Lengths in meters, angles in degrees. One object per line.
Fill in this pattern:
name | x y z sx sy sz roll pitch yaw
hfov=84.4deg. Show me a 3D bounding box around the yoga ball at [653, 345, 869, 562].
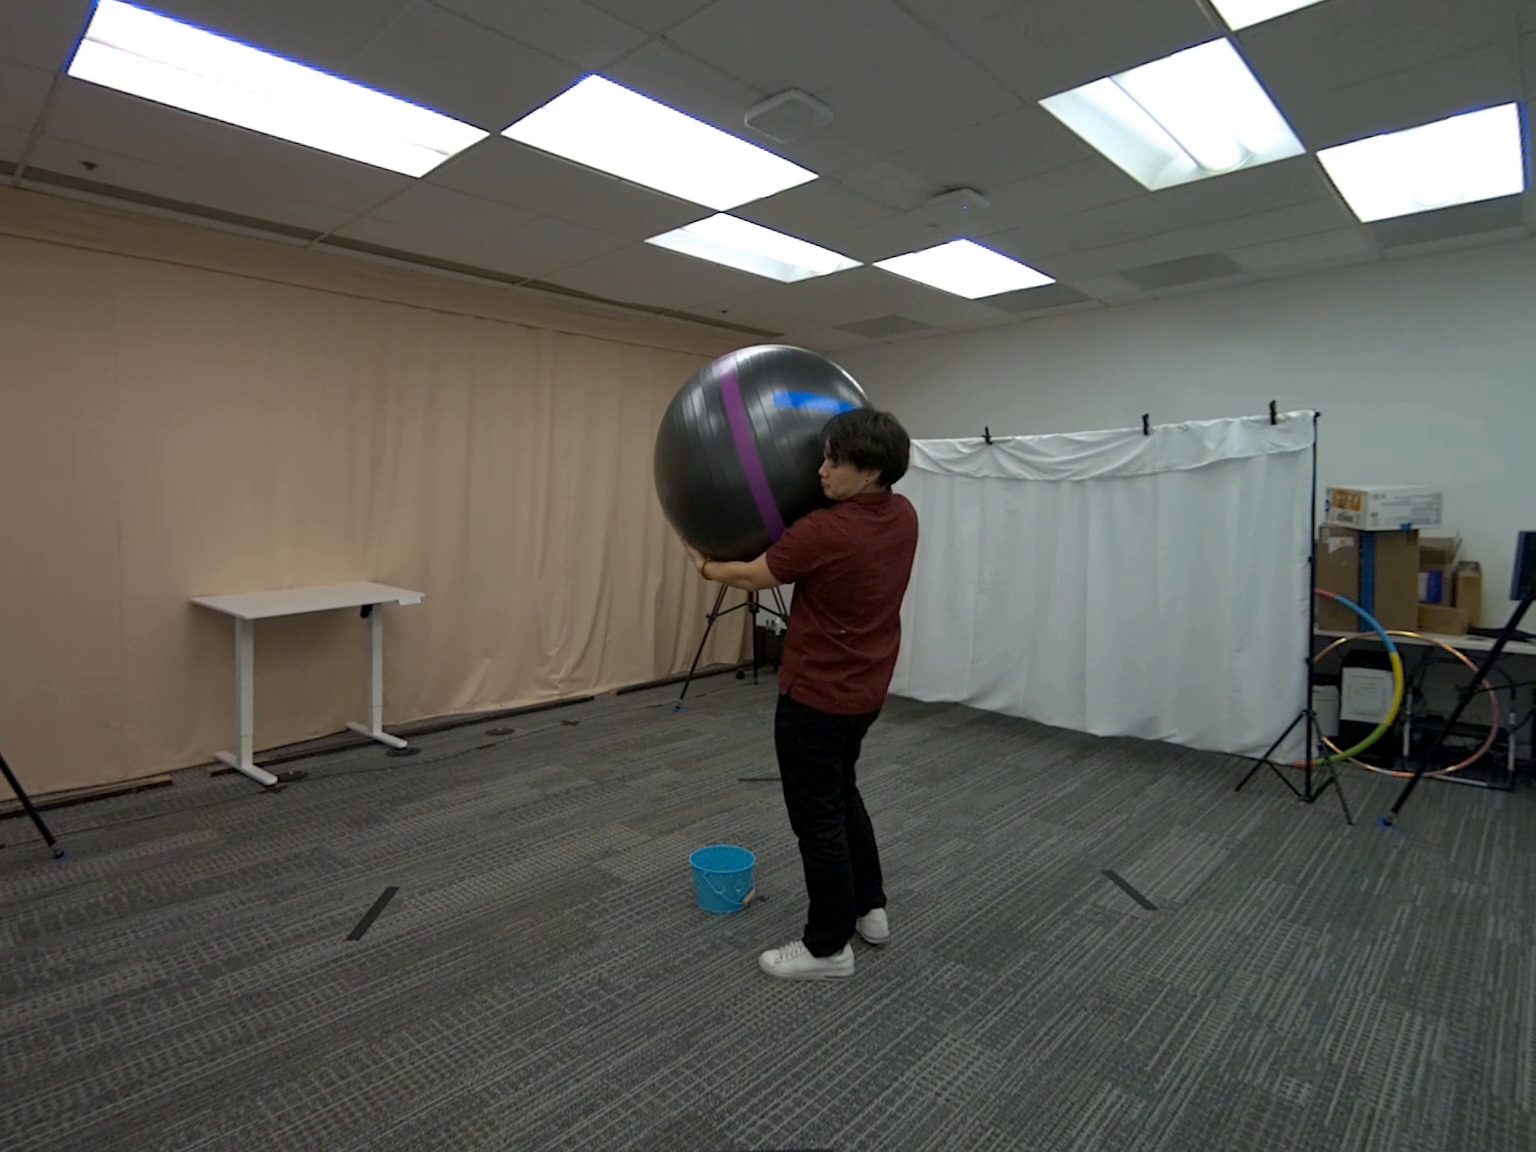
yoga ball | 0.011 -0.362 2.765 0.757 0.756 0.760 0 4 -2
